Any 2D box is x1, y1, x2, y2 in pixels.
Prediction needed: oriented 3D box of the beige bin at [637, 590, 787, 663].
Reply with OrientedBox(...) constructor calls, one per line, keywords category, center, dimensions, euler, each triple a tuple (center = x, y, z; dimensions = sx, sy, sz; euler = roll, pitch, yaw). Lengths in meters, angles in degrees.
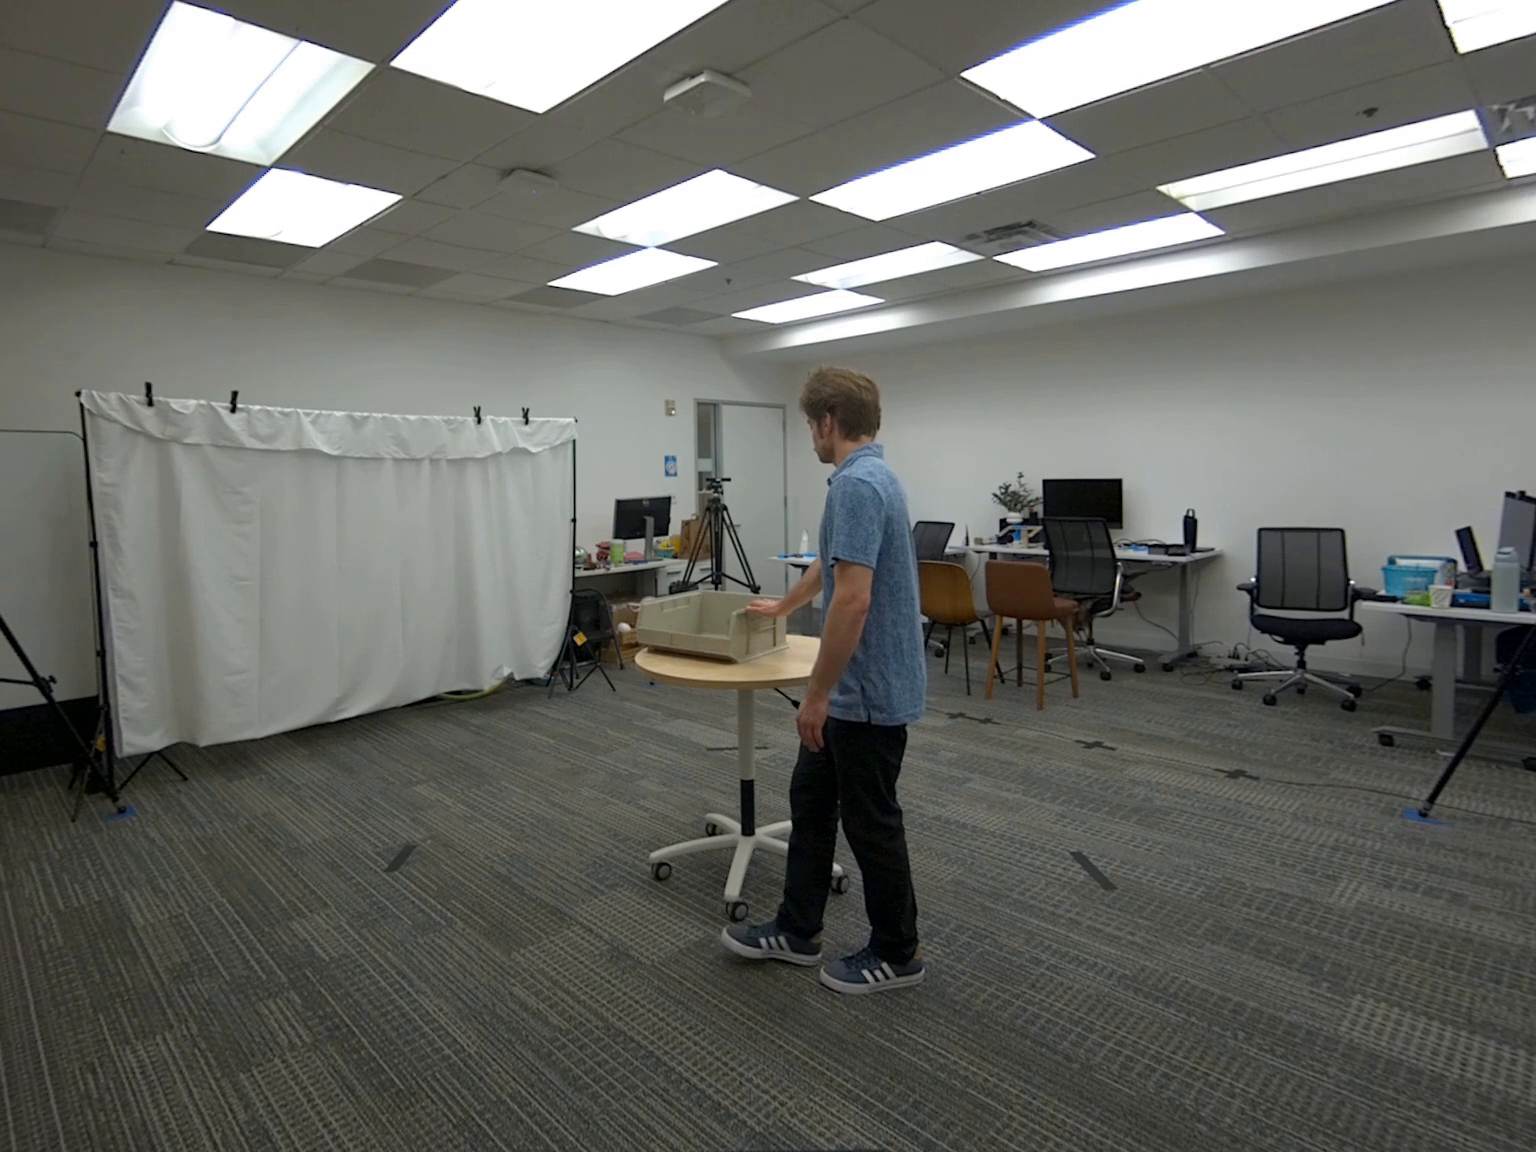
OrientedBox(category="beige bin", center=(-0.190, 0.175, 3.055), dimensions=(0.434, 0.188, 0.368), euler=(3, 6, 35))
